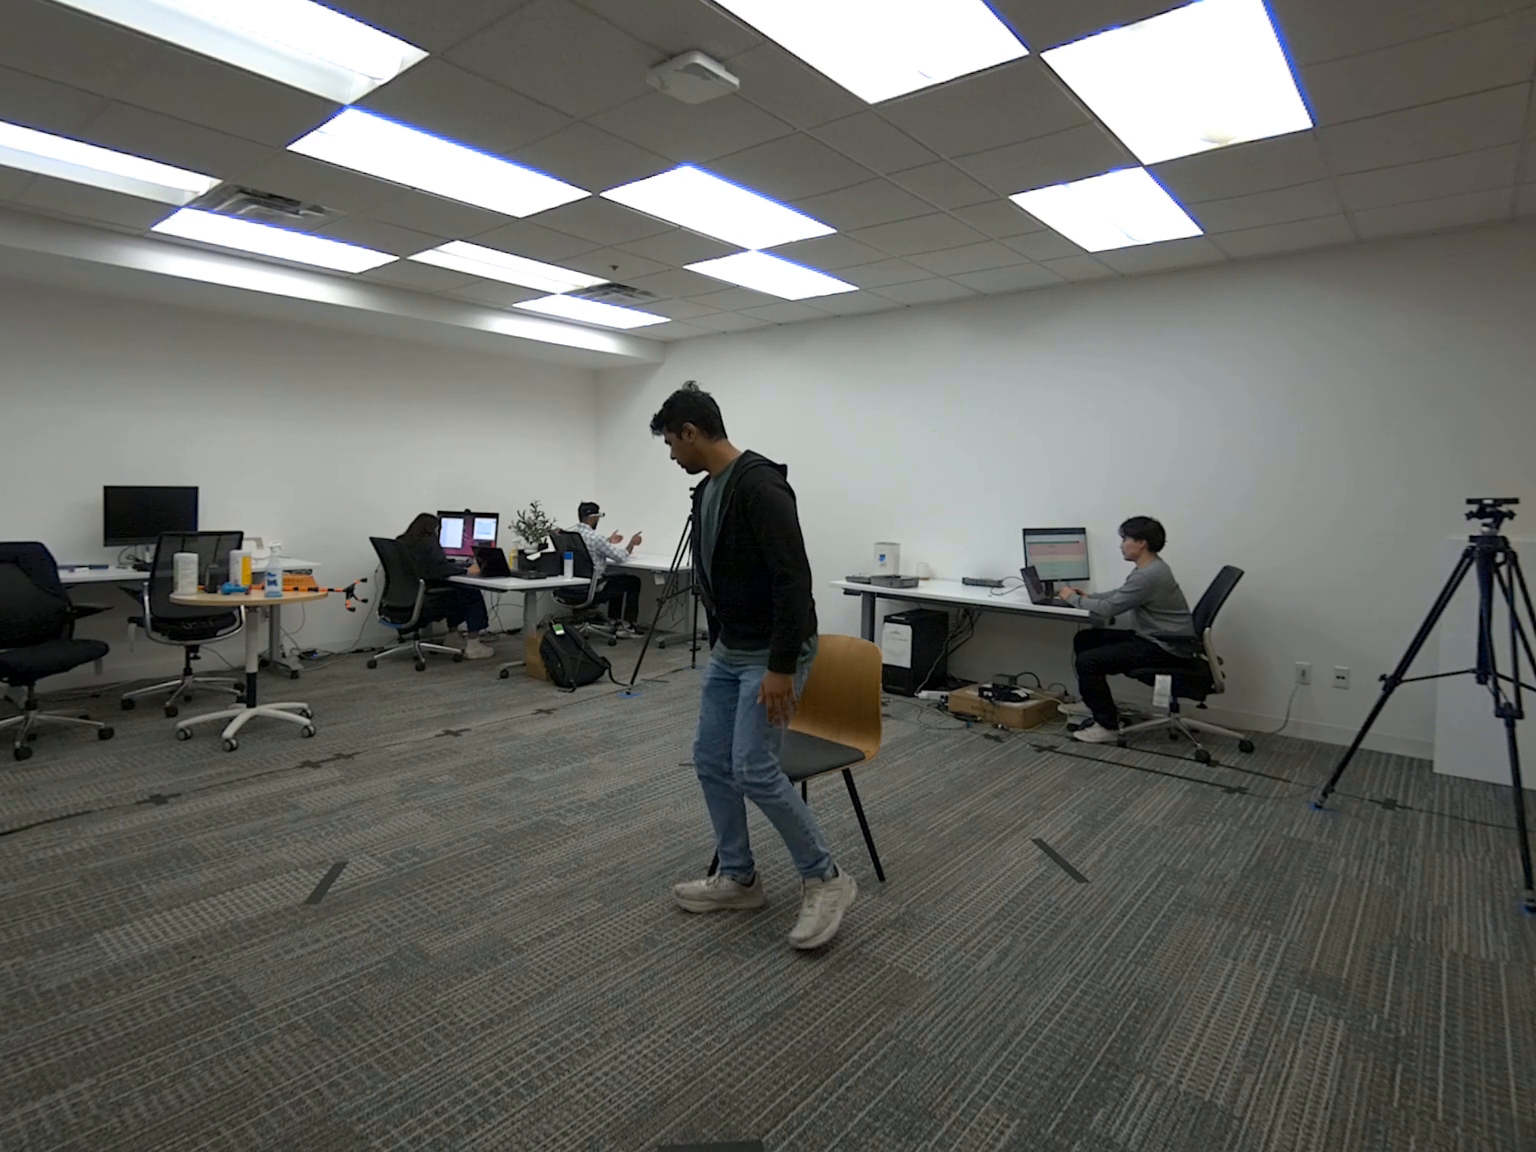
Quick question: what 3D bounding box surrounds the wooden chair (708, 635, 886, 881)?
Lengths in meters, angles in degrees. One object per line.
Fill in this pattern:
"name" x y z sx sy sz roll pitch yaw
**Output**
"wooden chair" 0.093 0.654 3.013 0.495 0.877 0.506 5 1 44
